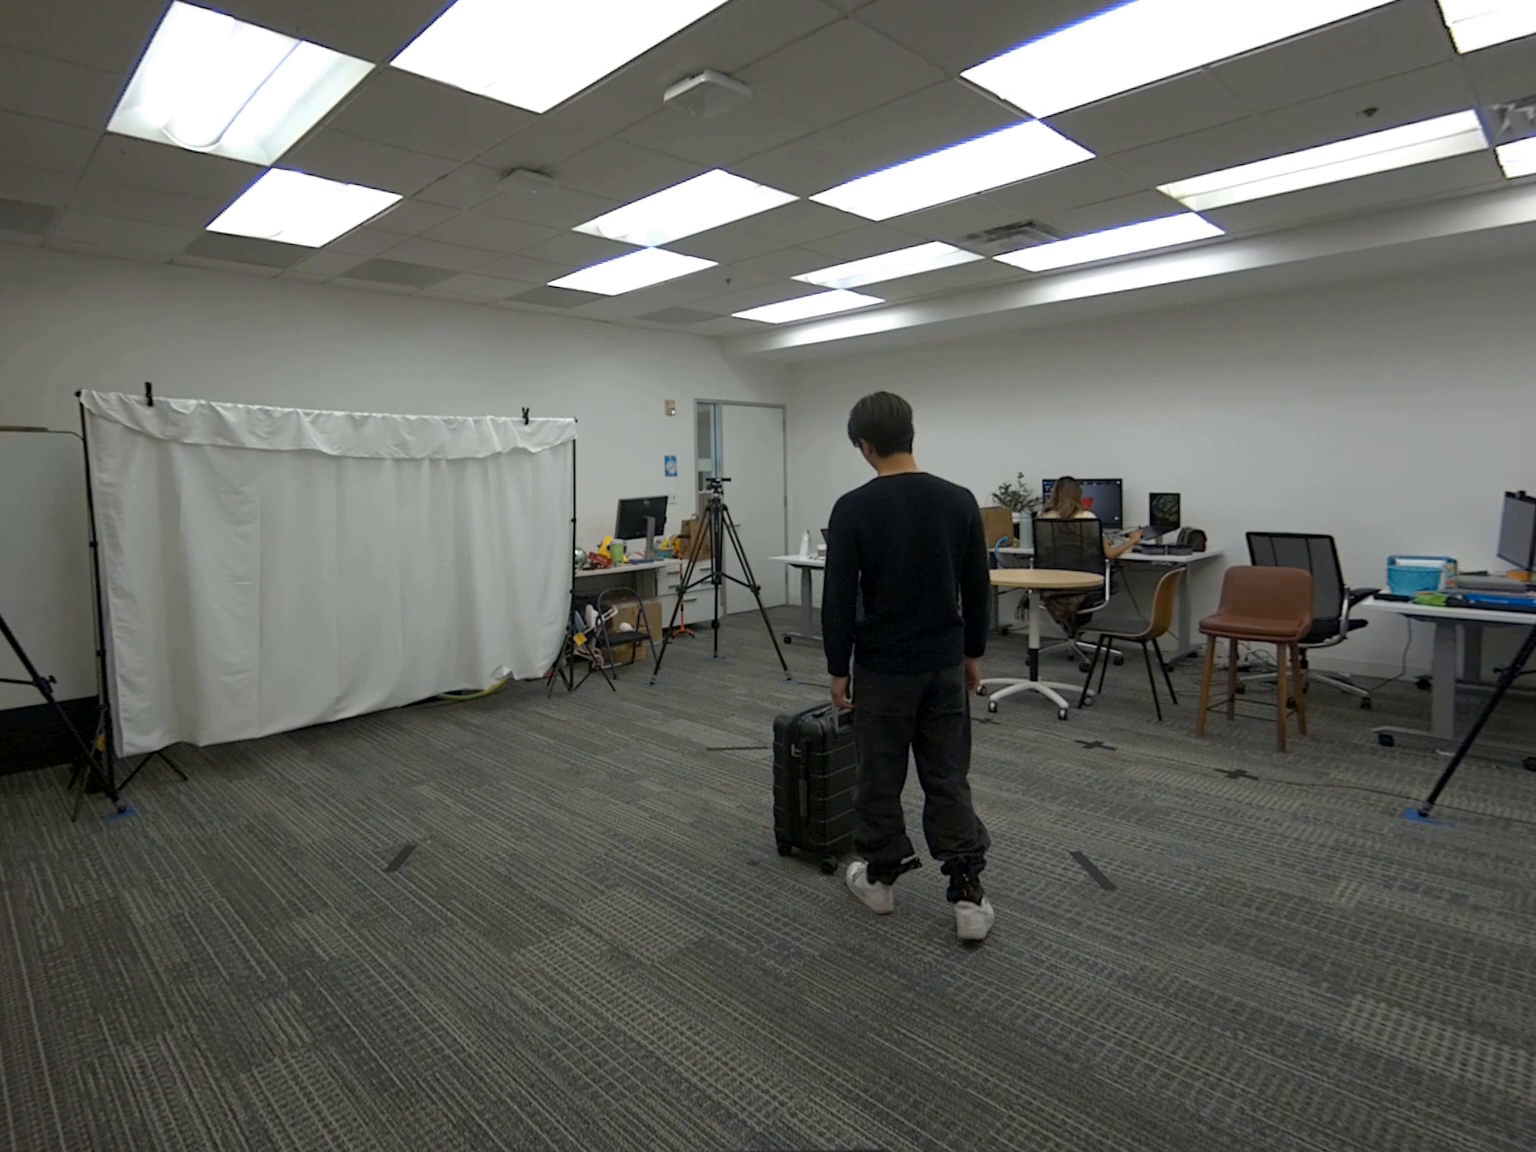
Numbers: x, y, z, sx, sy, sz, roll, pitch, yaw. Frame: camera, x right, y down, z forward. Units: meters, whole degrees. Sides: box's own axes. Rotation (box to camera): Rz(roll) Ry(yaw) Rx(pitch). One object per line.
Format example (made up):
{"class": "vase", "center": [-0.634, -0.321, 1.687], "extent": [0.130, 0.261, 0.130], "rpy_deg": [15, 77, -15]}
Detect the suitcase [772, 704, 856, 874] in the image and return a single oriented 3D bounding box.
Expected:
{"class": "suitcase", "center": [0.206, 0.554, 3.180], "extent": [0.264, 0.976, 0.374], "rpy_deg": [-1, 3, 44]}
